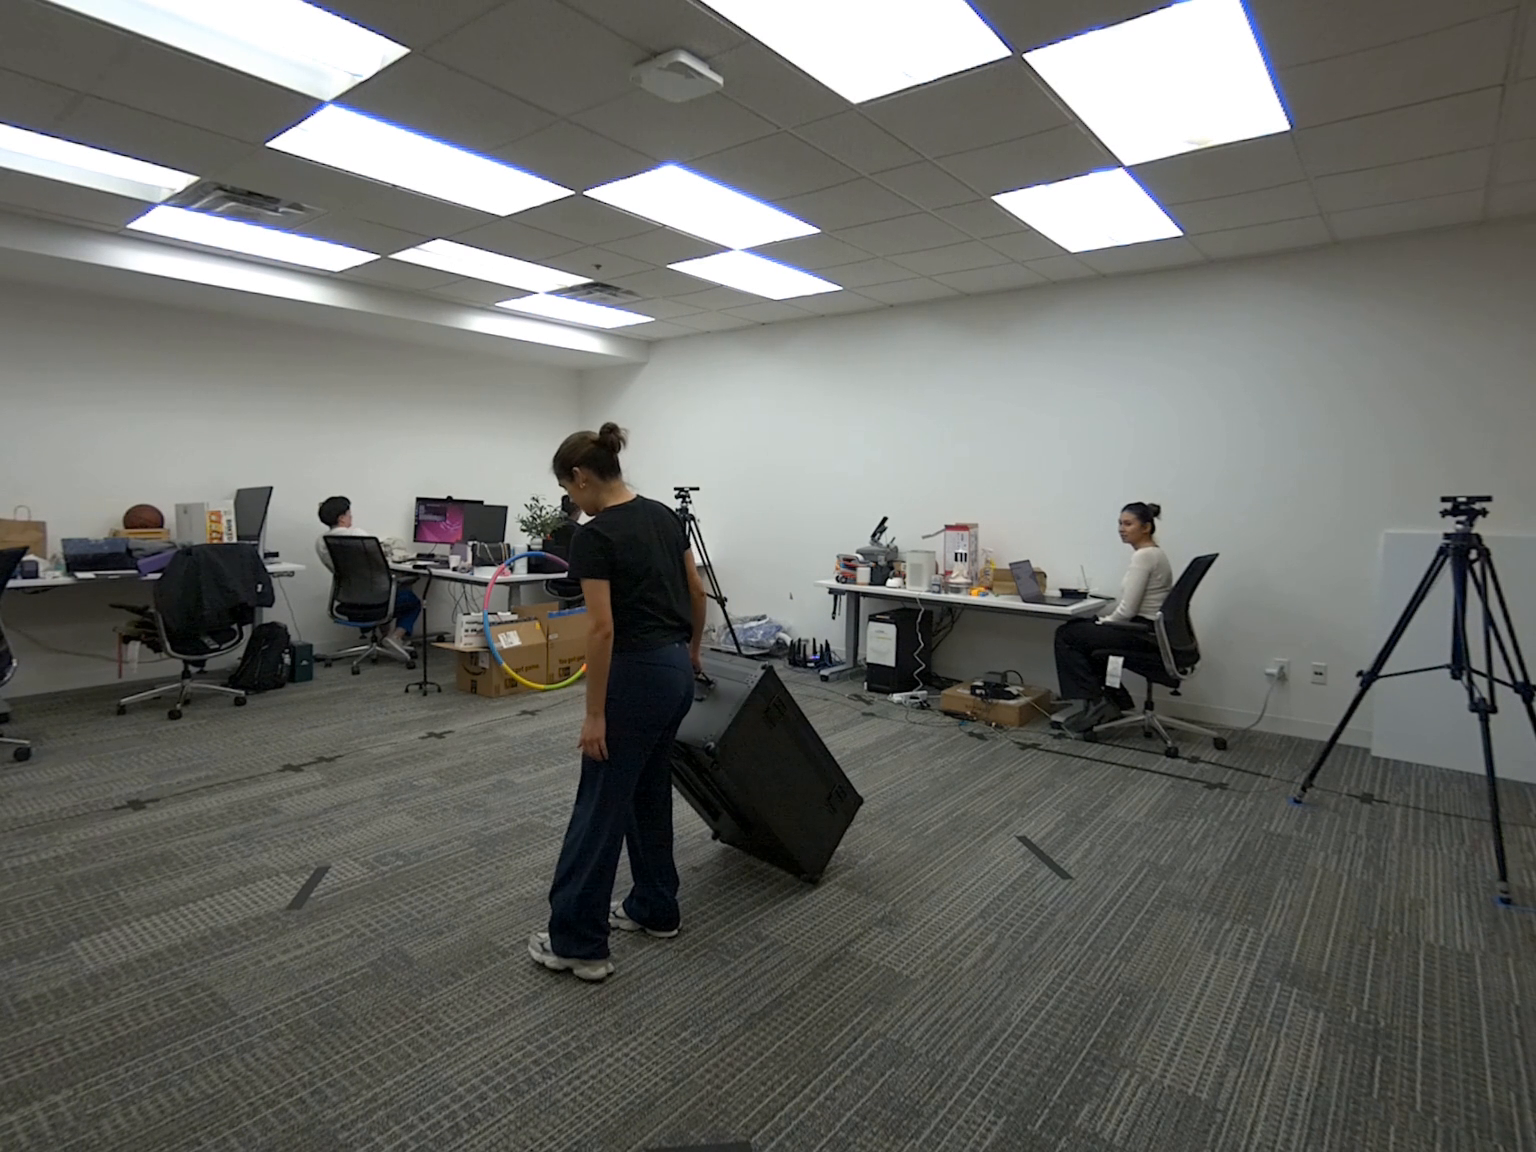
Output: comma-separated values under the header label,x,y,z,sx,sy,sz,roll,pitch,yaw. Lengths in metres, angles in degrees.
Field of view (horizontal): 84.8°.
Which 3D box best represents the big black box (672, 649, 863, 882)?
label,x,y,z,sx,sy,sz,roll,pitch,yaw
big black box,-0.054,0.686,3.042,0.539,0.830,0.397,5,48,45
